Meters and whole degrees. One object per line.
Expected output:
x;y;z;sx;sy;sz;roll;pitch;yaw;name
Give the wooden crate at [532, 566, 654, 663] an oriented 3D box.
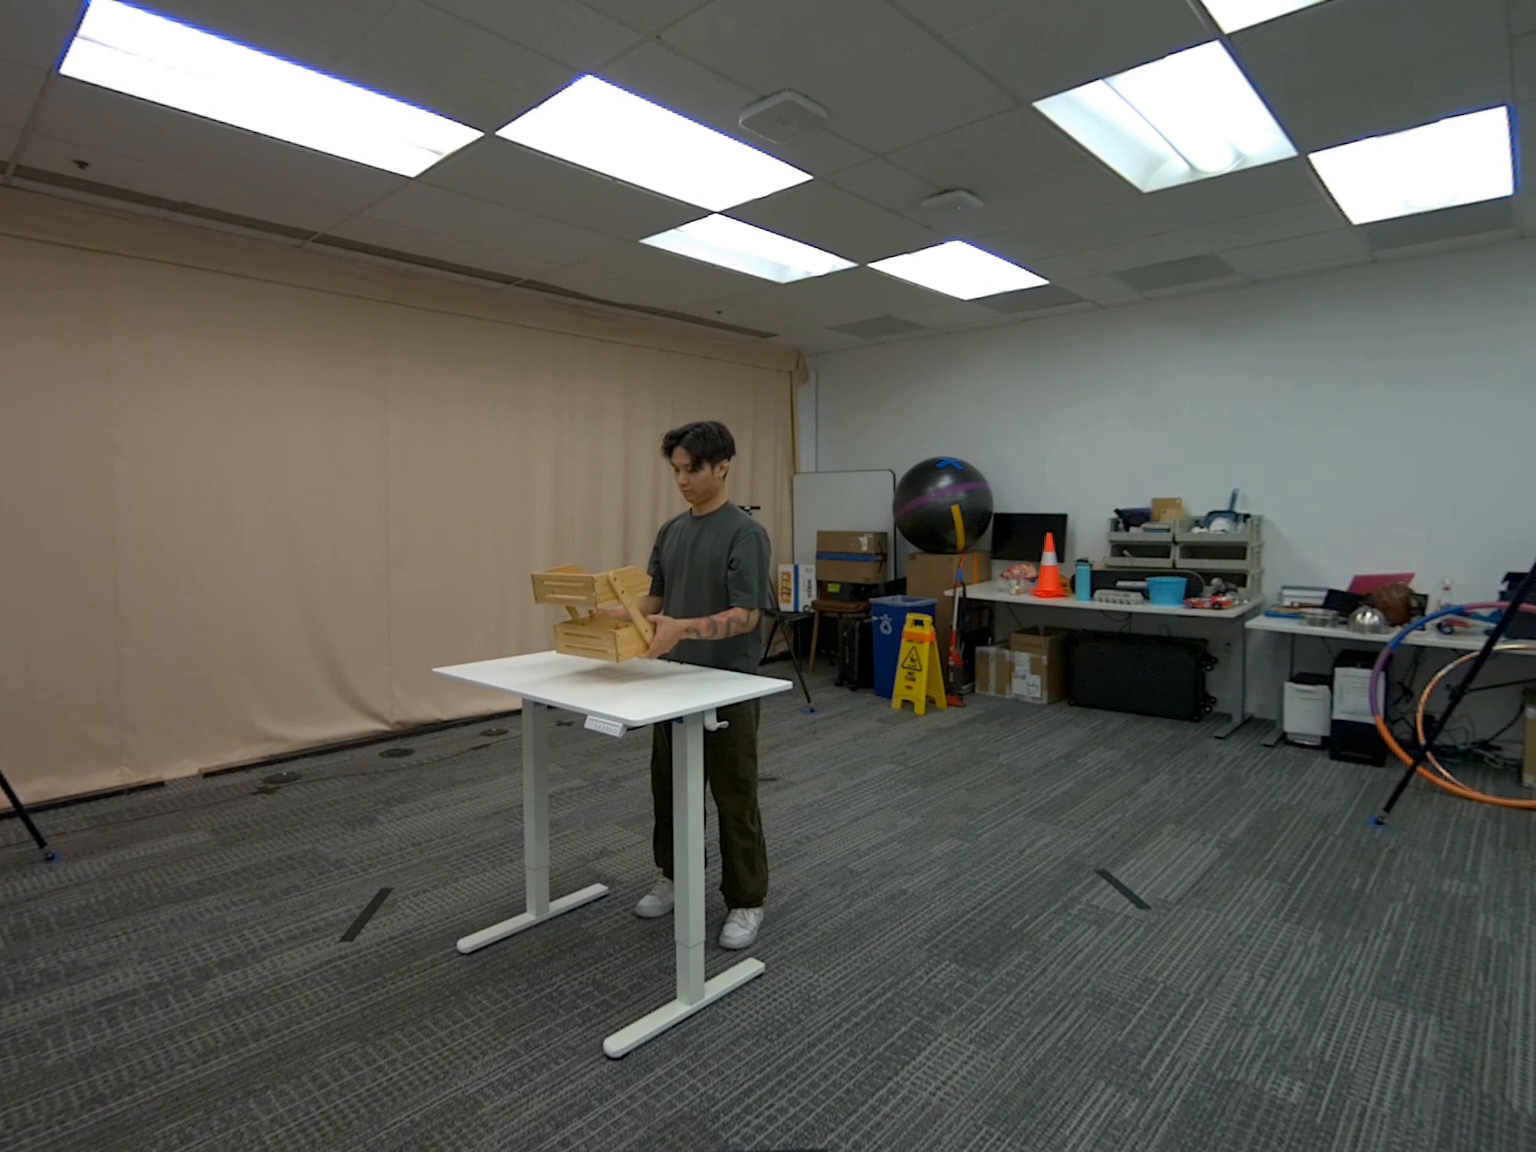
-0.482;0.094;2.527;0.335;0.272;0.294;1;10;41;wooden crate
